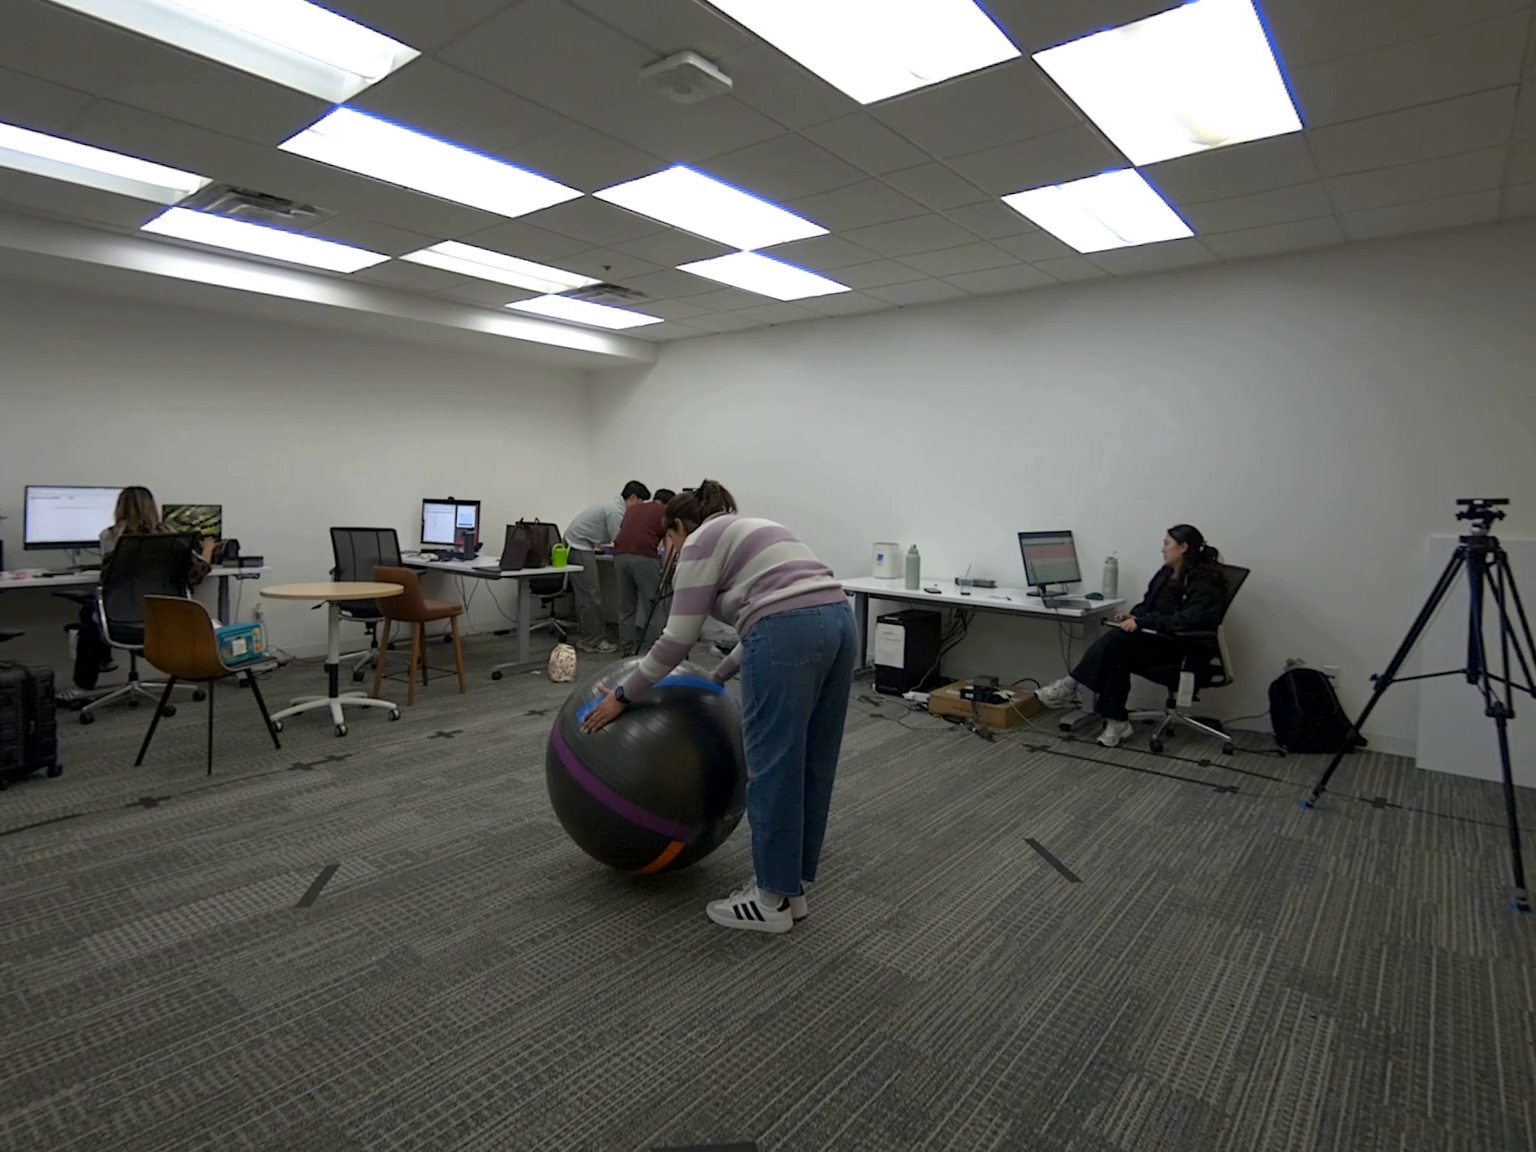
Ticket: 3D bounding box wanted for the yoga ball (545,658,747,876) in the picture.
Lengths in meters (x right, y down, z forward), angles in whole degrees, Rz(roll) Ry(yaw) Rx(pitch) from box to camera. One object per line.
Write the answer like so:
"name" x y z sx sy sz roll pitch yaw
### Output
"yoga ball" -0.421 0.672 3.071 0.757 0.755 0.762 1 4 -2
